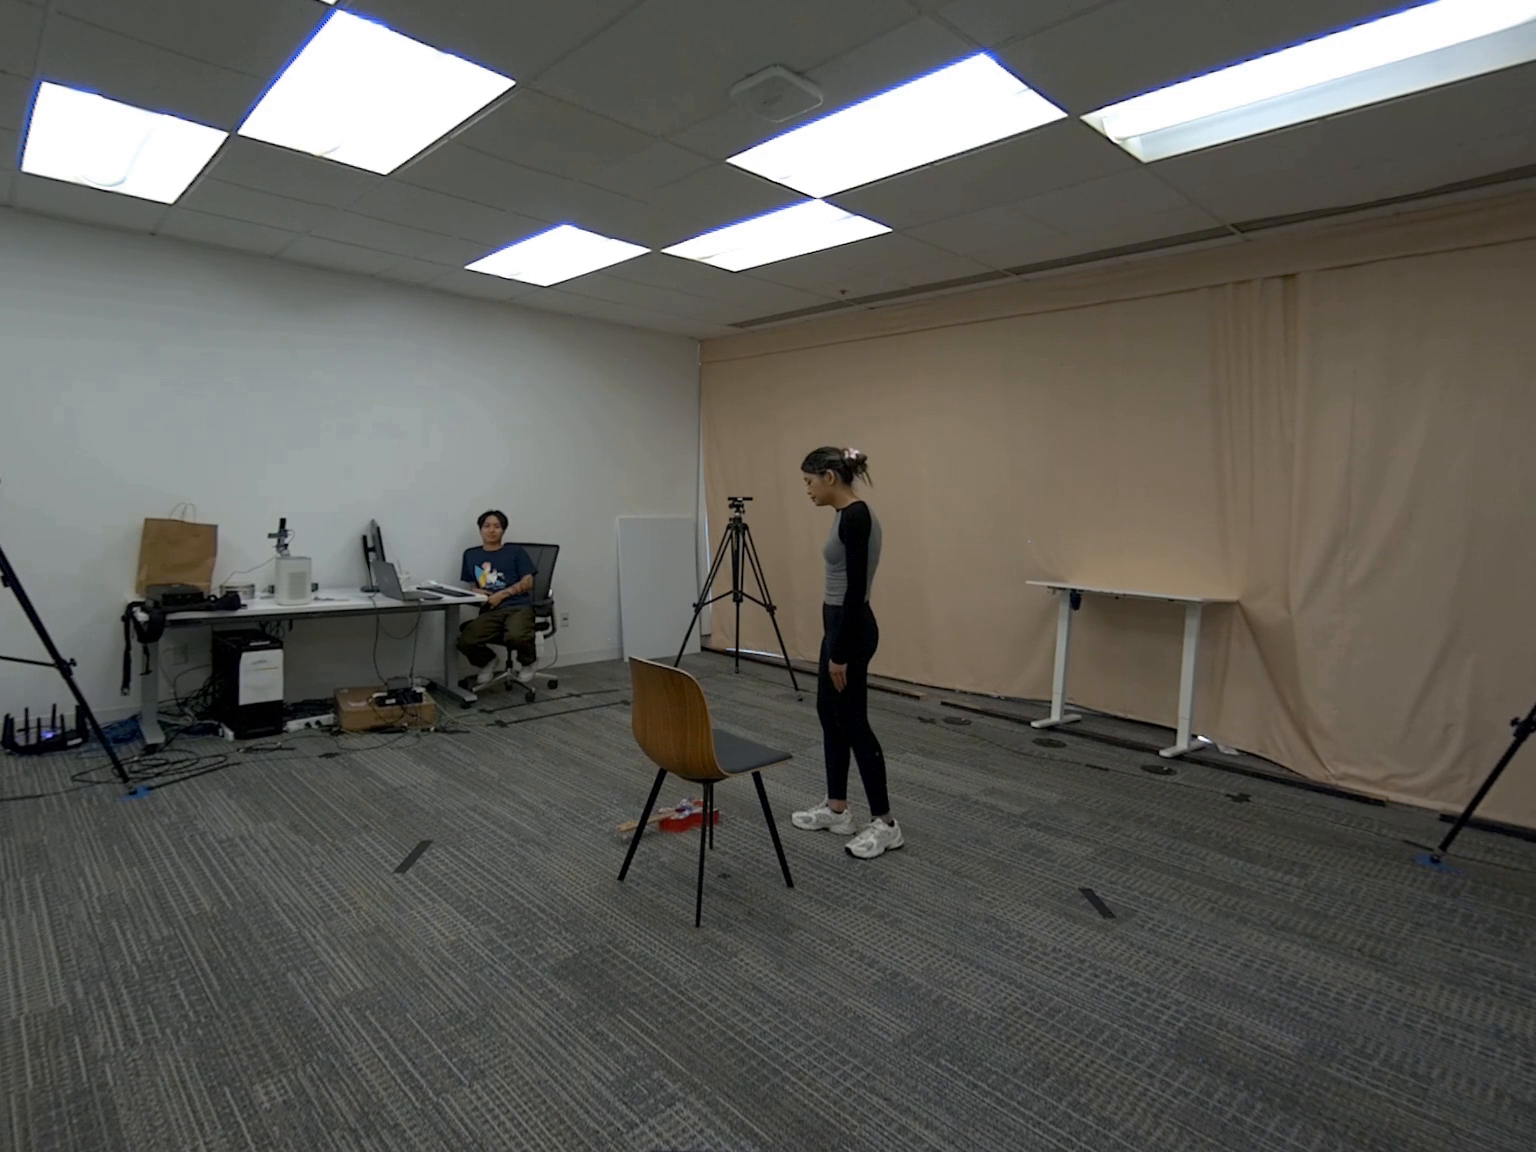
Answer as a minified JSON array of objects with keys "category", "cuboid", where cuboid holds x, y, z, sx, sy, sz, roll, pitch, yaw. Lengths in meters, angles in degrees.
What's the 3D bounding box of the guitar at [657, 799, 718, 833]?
[{"category":"guitar","cuboid":[-0.445,1.021,3.561,0.487,0.070,0.198,-2,6,-36]}]
